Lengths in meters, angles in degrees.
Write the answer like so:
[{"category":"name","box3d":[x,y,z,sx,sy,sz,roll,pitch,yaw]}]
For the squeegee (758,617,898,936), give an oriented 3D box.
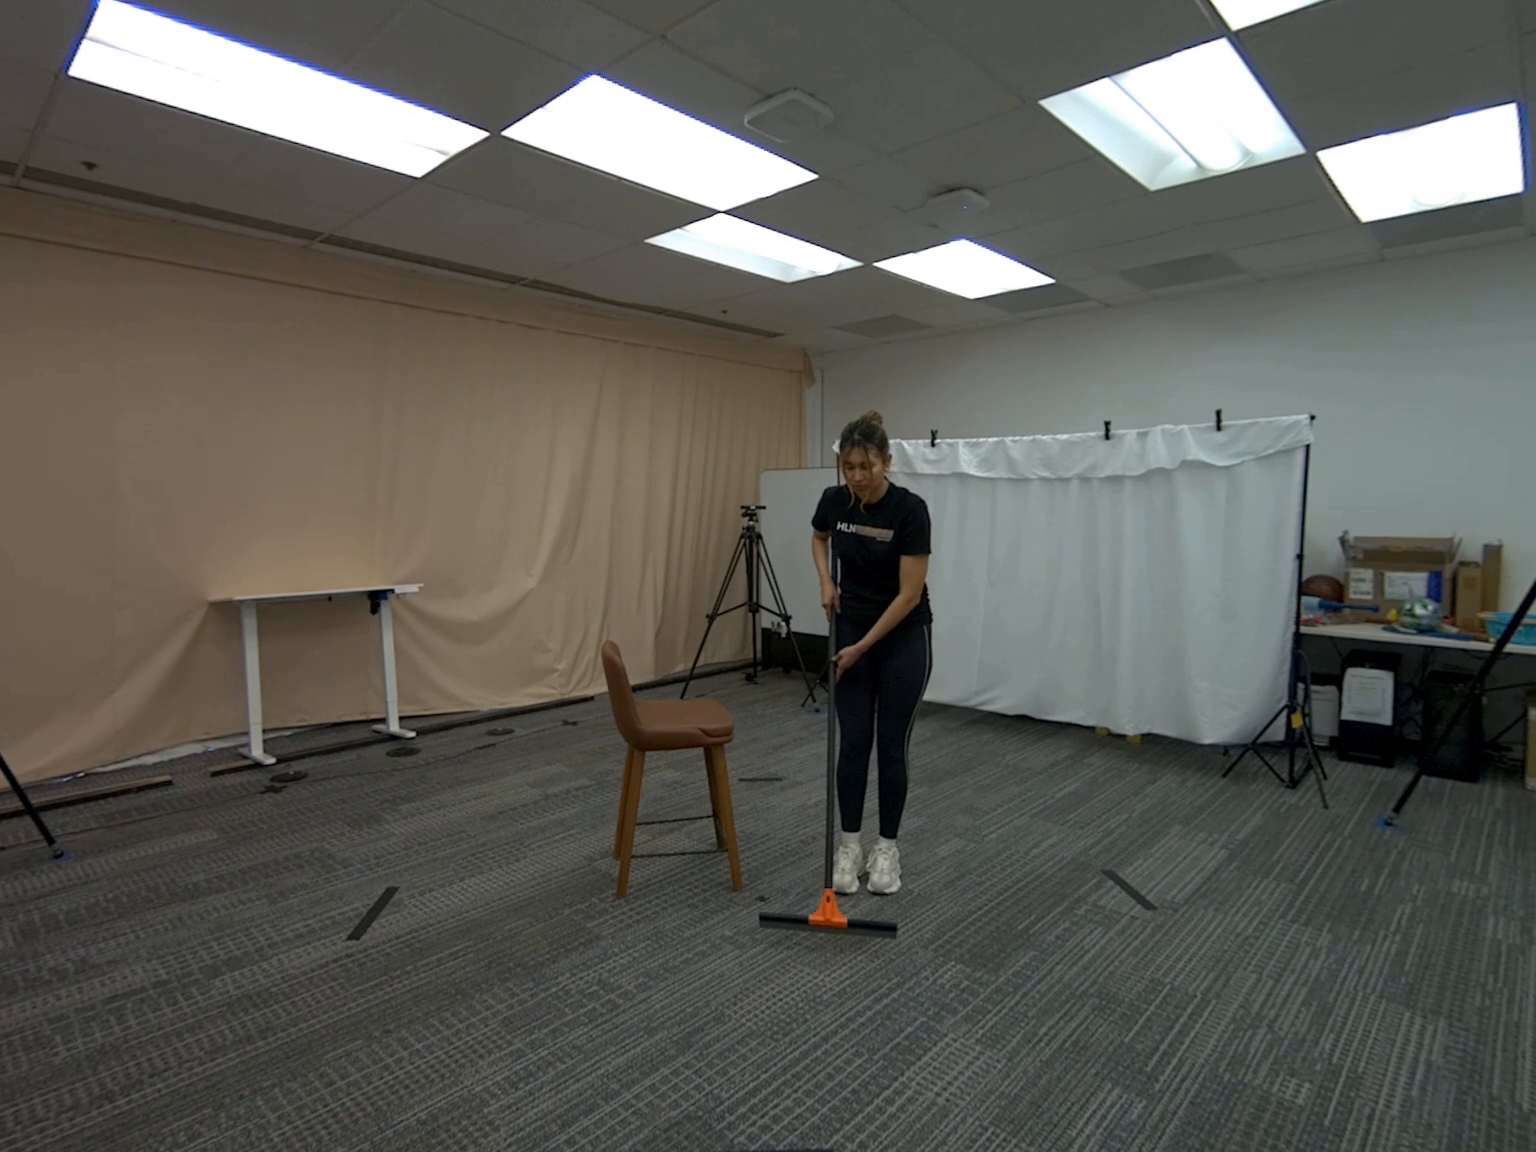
[{"category":"squeegee","box3d":[0.233,0.434,2.990,0.441,1.559,0.052,-2,-29,8]}]
